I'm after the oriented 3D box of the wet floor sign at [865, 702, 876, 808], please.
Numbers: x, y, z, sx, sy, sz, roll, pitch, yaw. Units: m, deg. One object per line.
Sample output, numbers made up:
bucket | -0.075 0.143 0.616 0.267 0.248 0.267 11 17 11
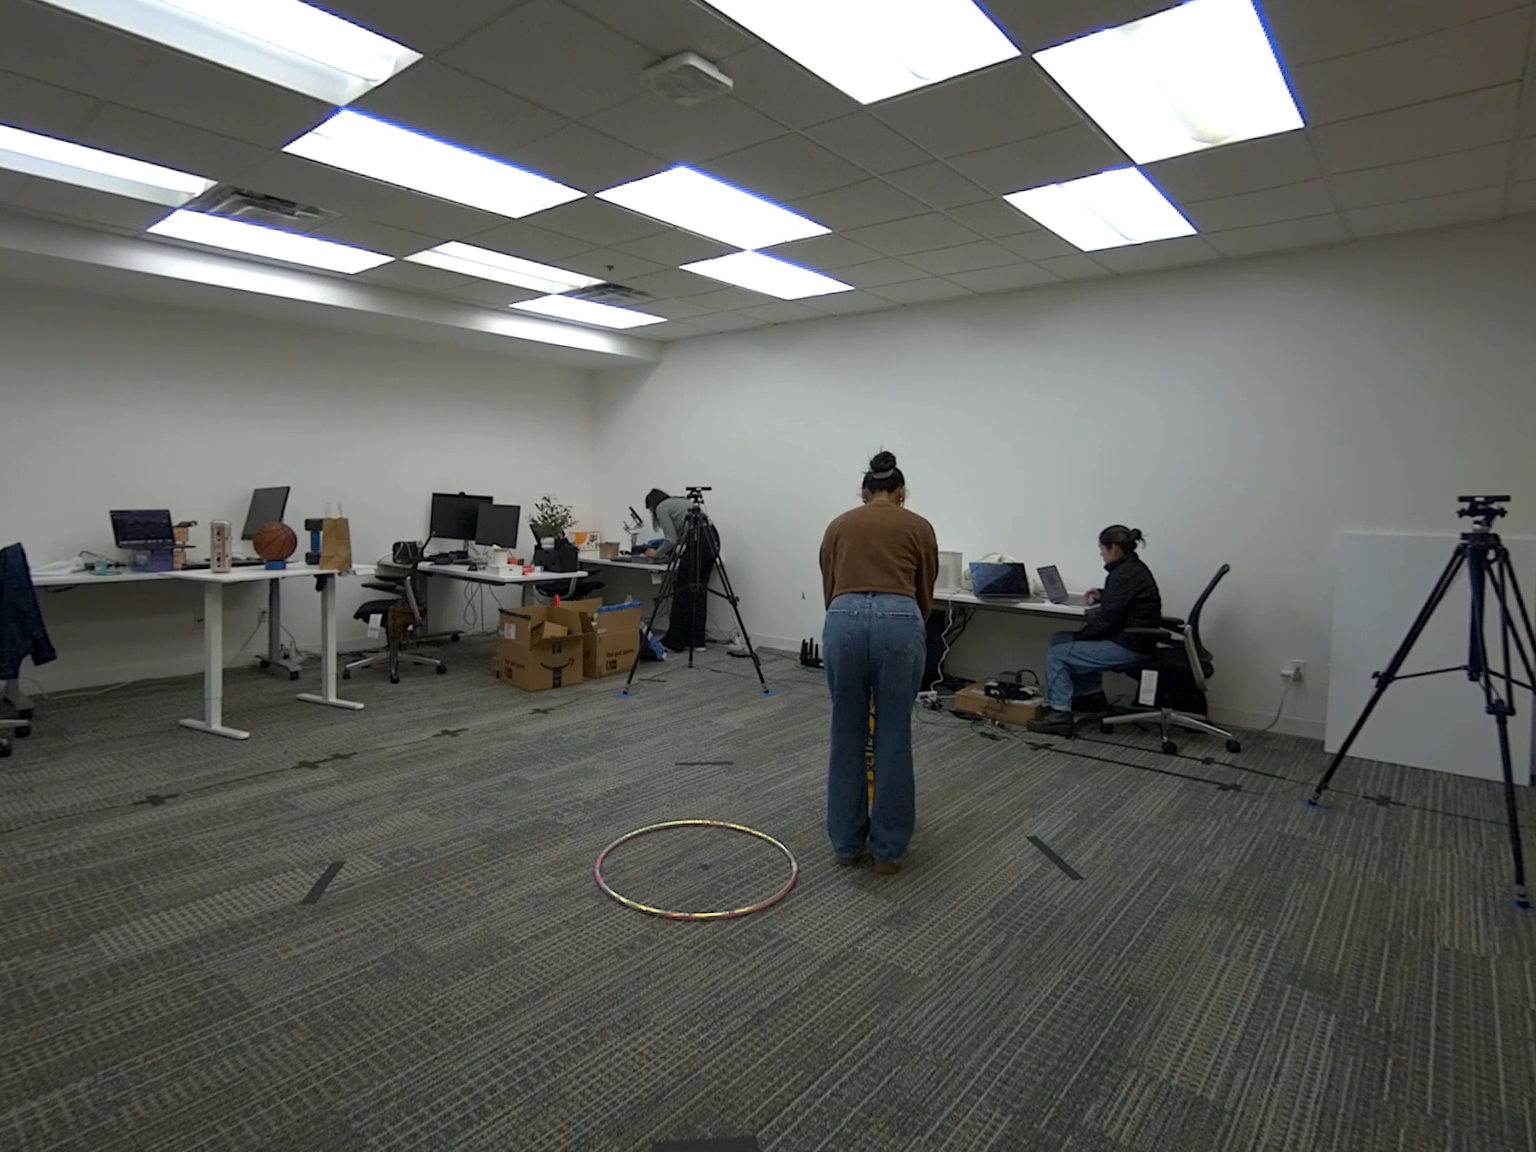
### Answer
wet floor sign | 0.411 0.641 3.513 0.286 0.640 0.289 4 11 10
